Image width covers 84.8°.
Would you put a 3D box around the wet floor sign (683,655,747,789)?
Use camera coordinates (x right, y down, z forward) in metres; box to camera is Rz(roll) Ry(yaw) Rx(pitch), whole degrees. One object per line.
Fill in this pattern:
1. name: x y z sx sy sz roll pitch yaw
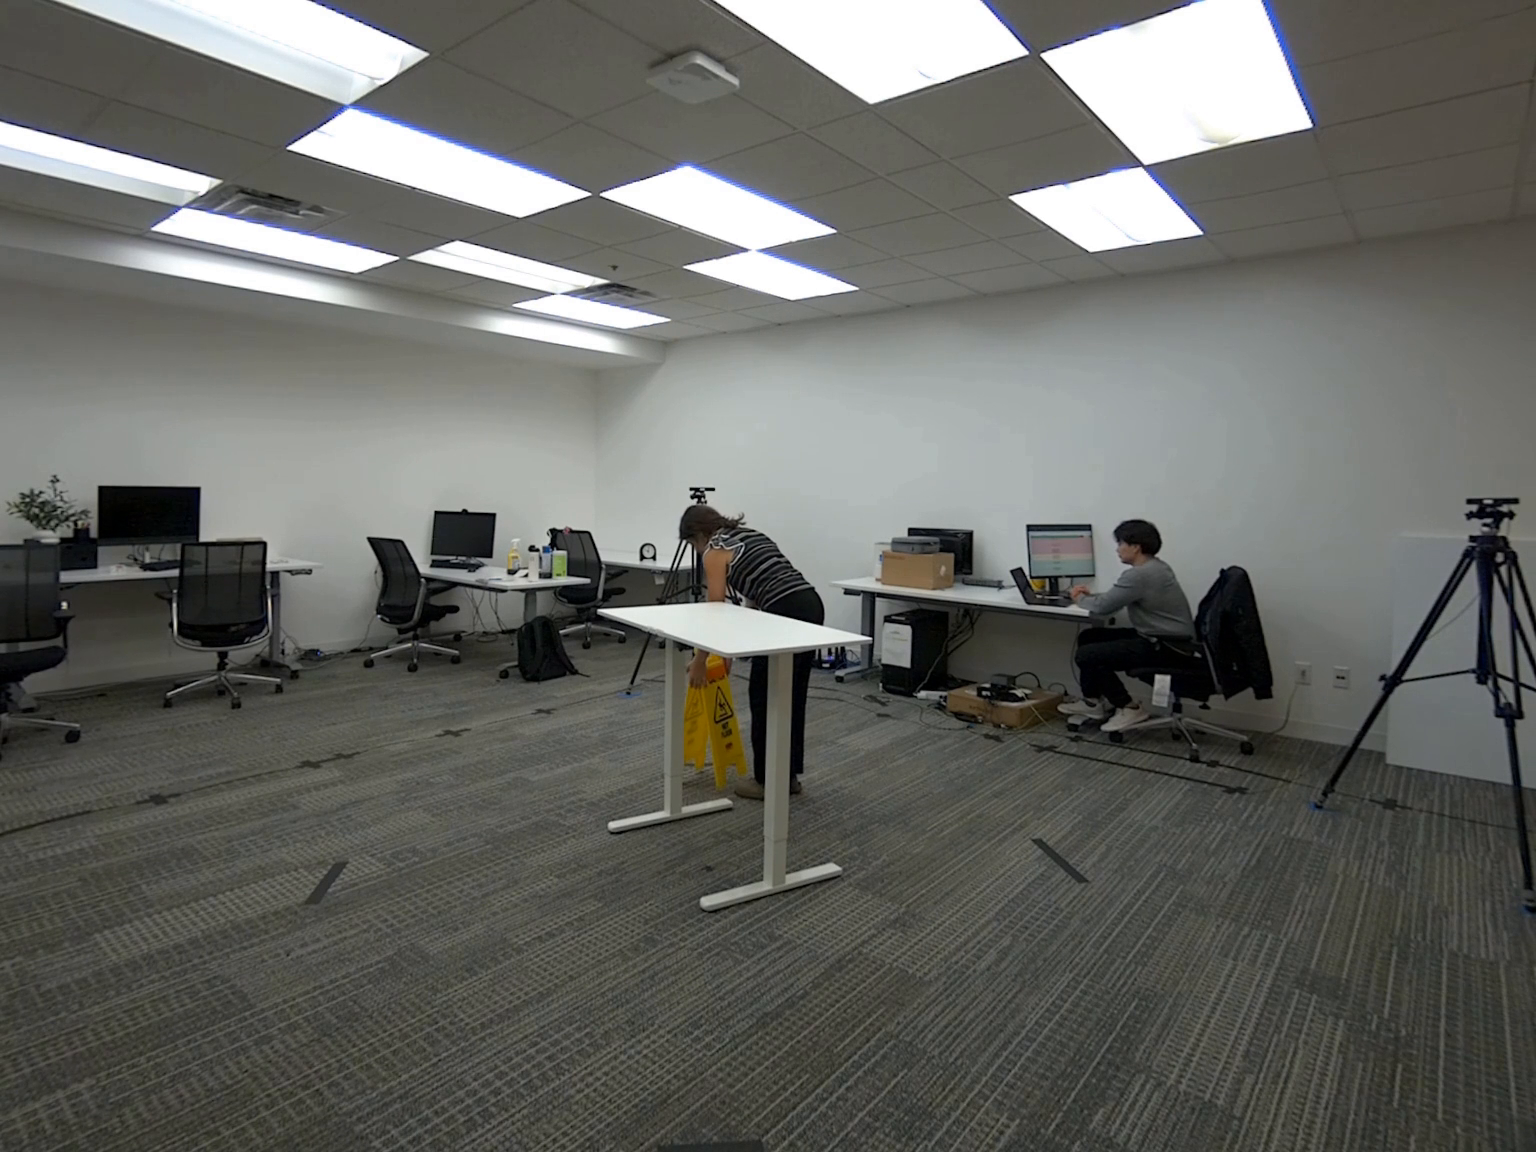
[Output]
1. wet floor sign: -0.288 0.633 4.047 0.297 0.645 0.275 0 2 26
